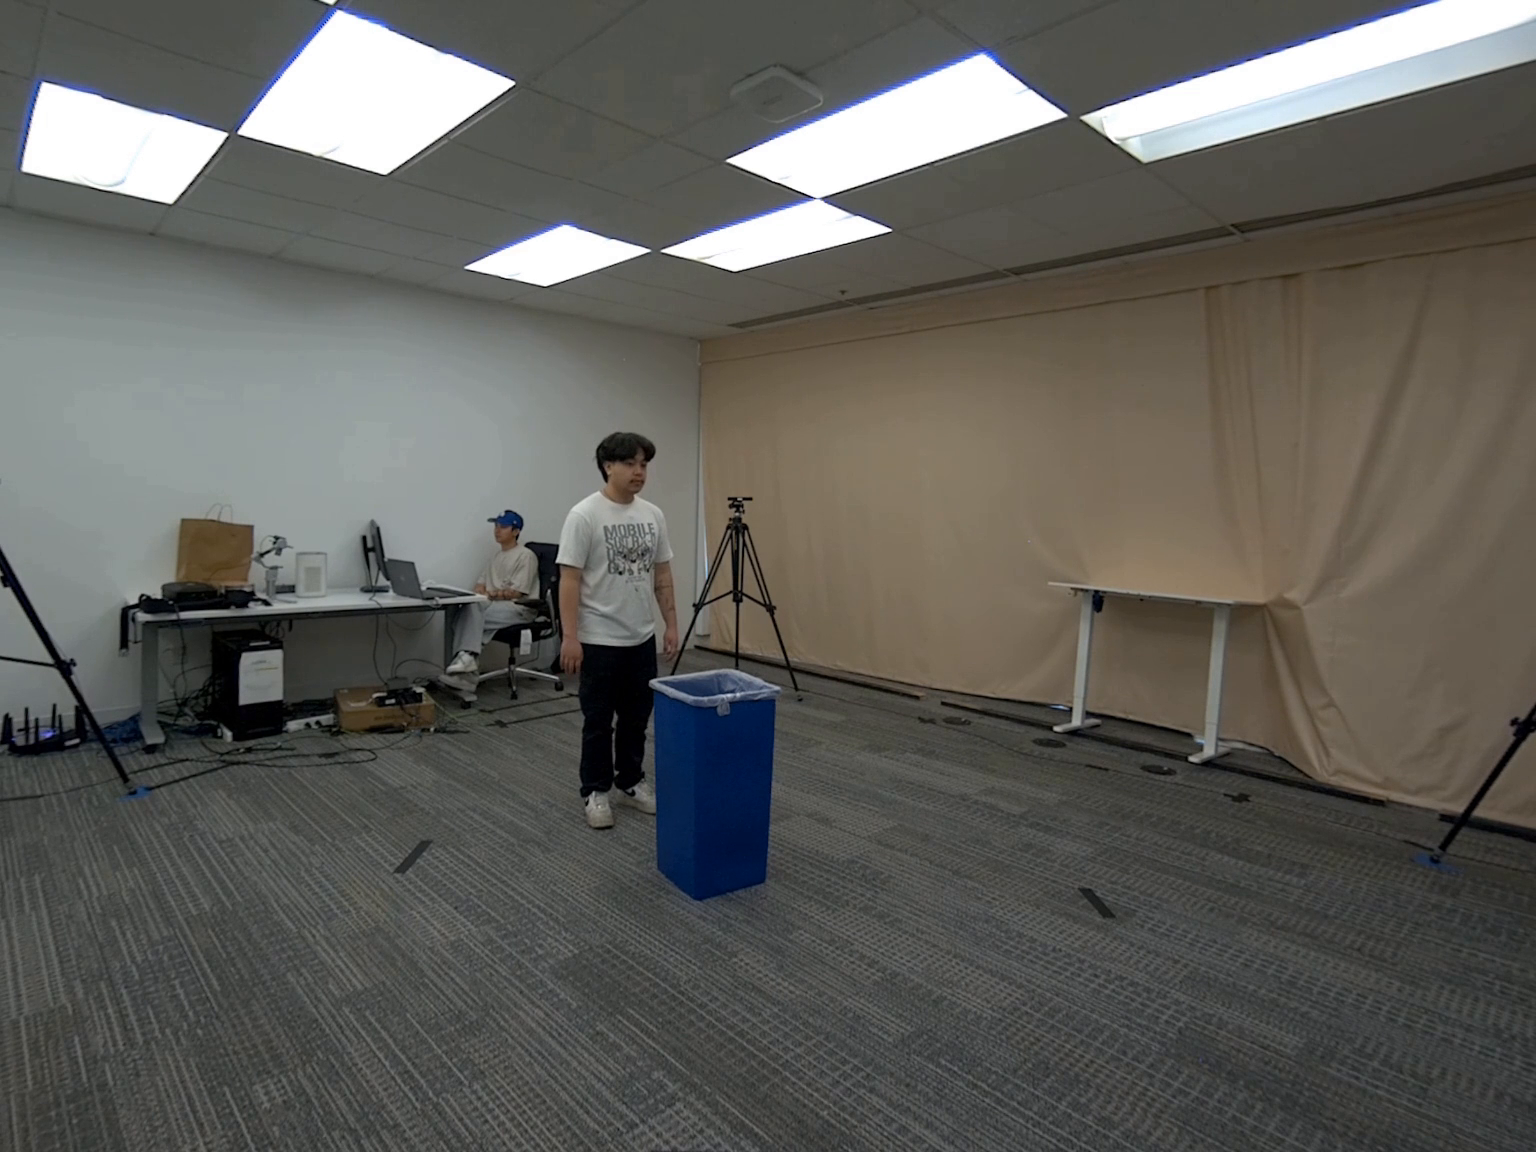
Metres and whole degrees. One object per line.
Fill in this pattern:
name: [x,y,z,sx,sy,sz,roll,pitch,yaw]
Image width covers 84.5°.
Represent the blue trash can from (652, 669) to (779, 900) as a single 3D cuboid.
blue trash can: [-0.215,0.749,3.094,0.370,0.712,0.383,-1,4,-34]
